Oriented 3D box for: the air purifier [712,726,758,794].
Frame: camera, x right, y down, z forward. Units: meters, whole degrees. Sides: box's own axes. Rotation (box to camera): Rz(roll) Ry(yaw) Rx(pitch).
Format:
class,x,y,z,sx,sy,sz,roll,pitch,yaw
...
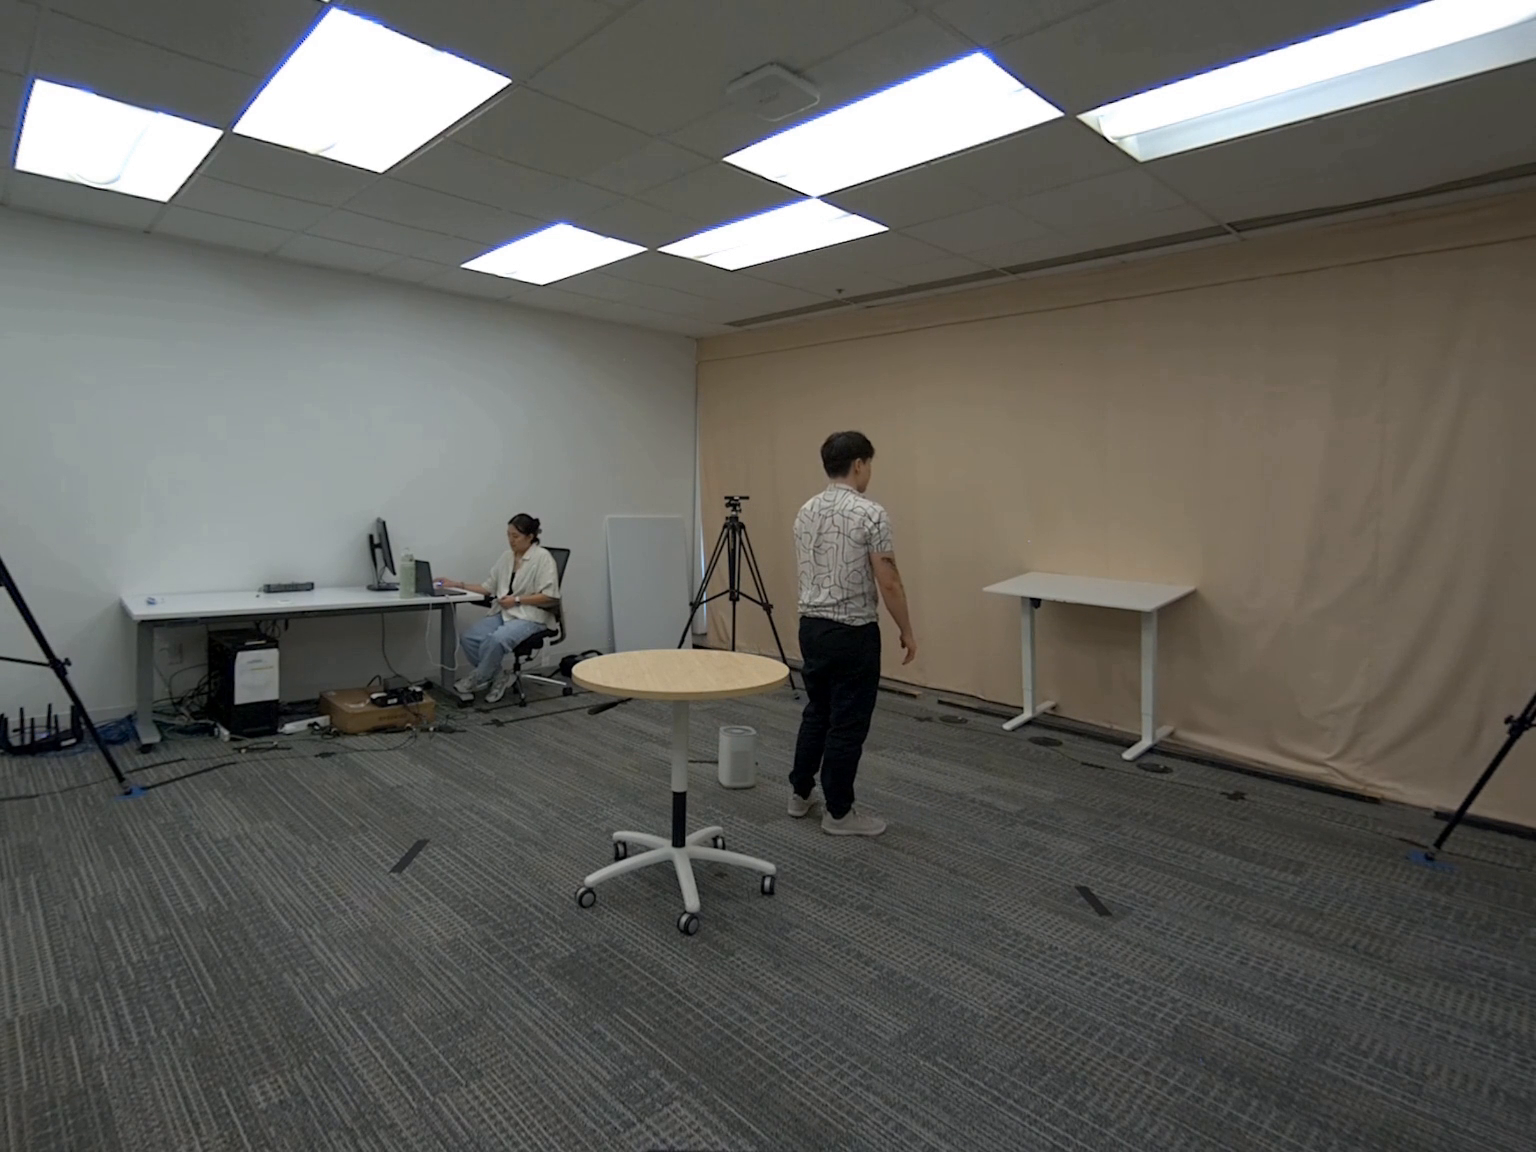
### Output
class,x,y,z,sx,sy,sz,roll,pitch,yaw
air purifier,-0.163,0.887,4.110,0.169,0.265,0.174,1,3,-18
